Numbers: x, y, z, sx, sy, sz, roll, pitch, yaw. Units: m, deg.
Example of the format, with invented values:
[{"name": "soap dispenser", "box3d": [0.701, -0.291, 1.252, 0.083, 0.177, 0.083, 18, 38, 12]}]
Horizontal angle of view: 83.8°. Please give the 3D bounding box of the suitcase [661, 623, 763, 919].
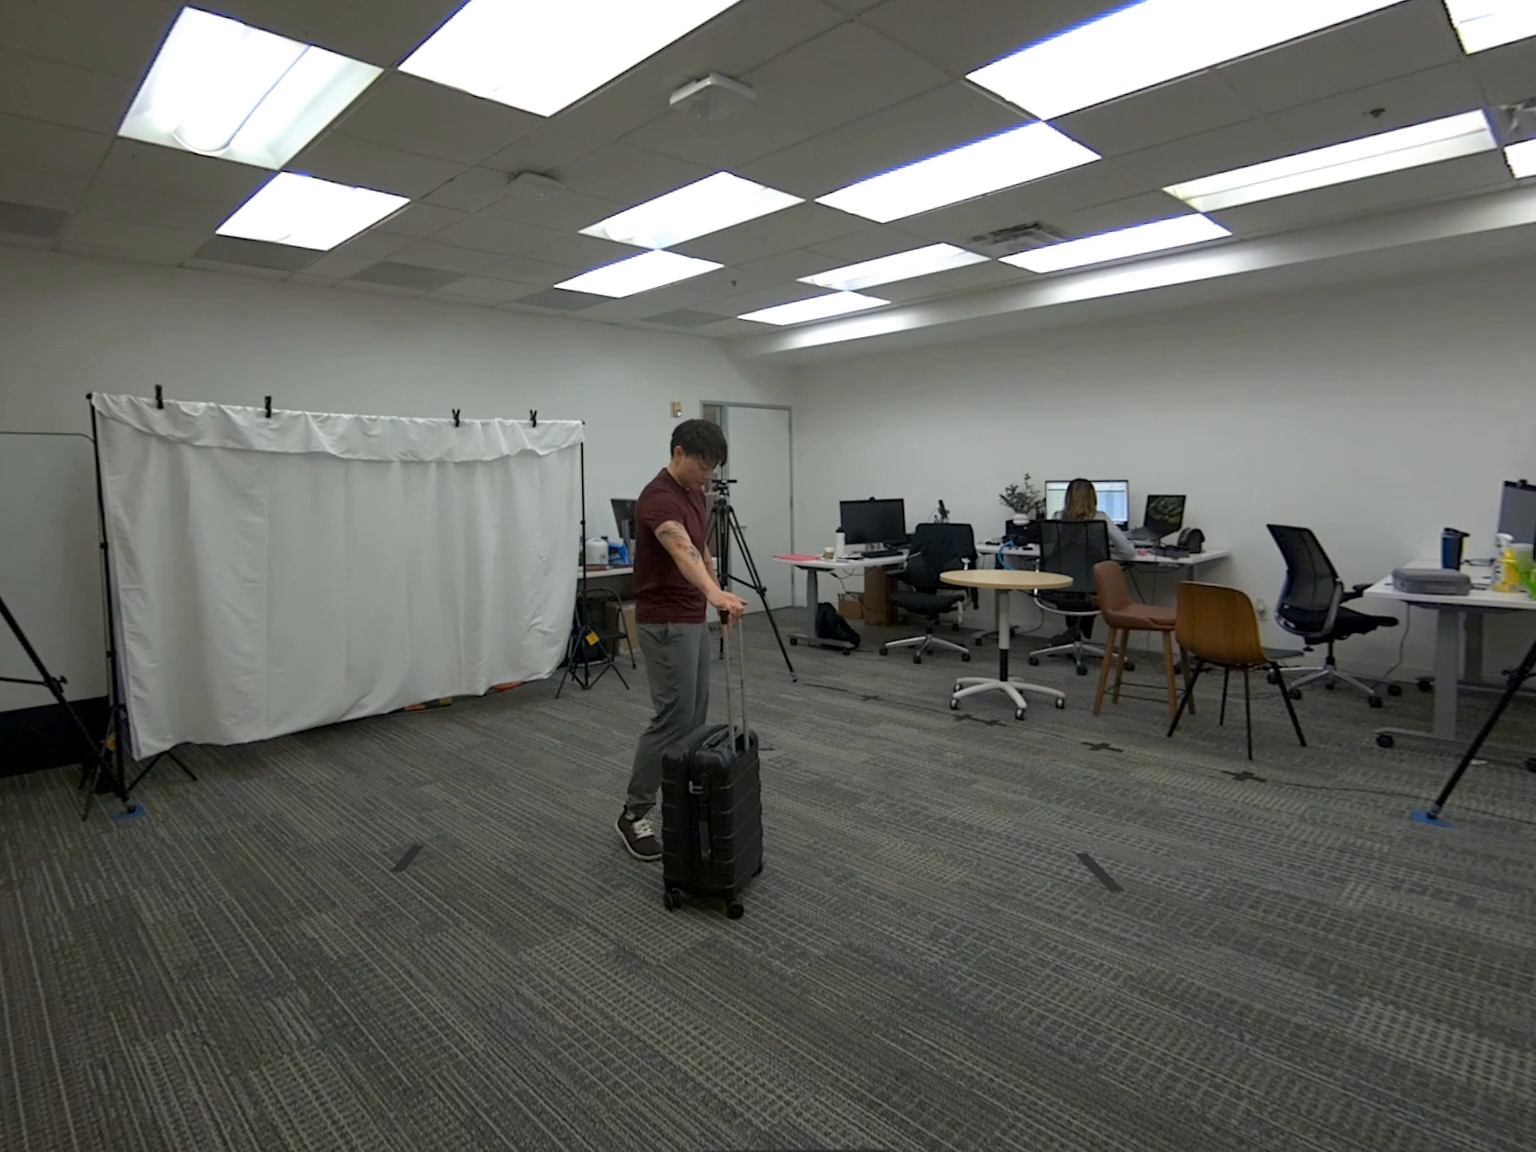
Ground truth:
[{"name": "suitcase", "box3d": [-0.195, 0.600, 2.888, 0.261, 0.976, 0.379, -3, 3, 18]}]
